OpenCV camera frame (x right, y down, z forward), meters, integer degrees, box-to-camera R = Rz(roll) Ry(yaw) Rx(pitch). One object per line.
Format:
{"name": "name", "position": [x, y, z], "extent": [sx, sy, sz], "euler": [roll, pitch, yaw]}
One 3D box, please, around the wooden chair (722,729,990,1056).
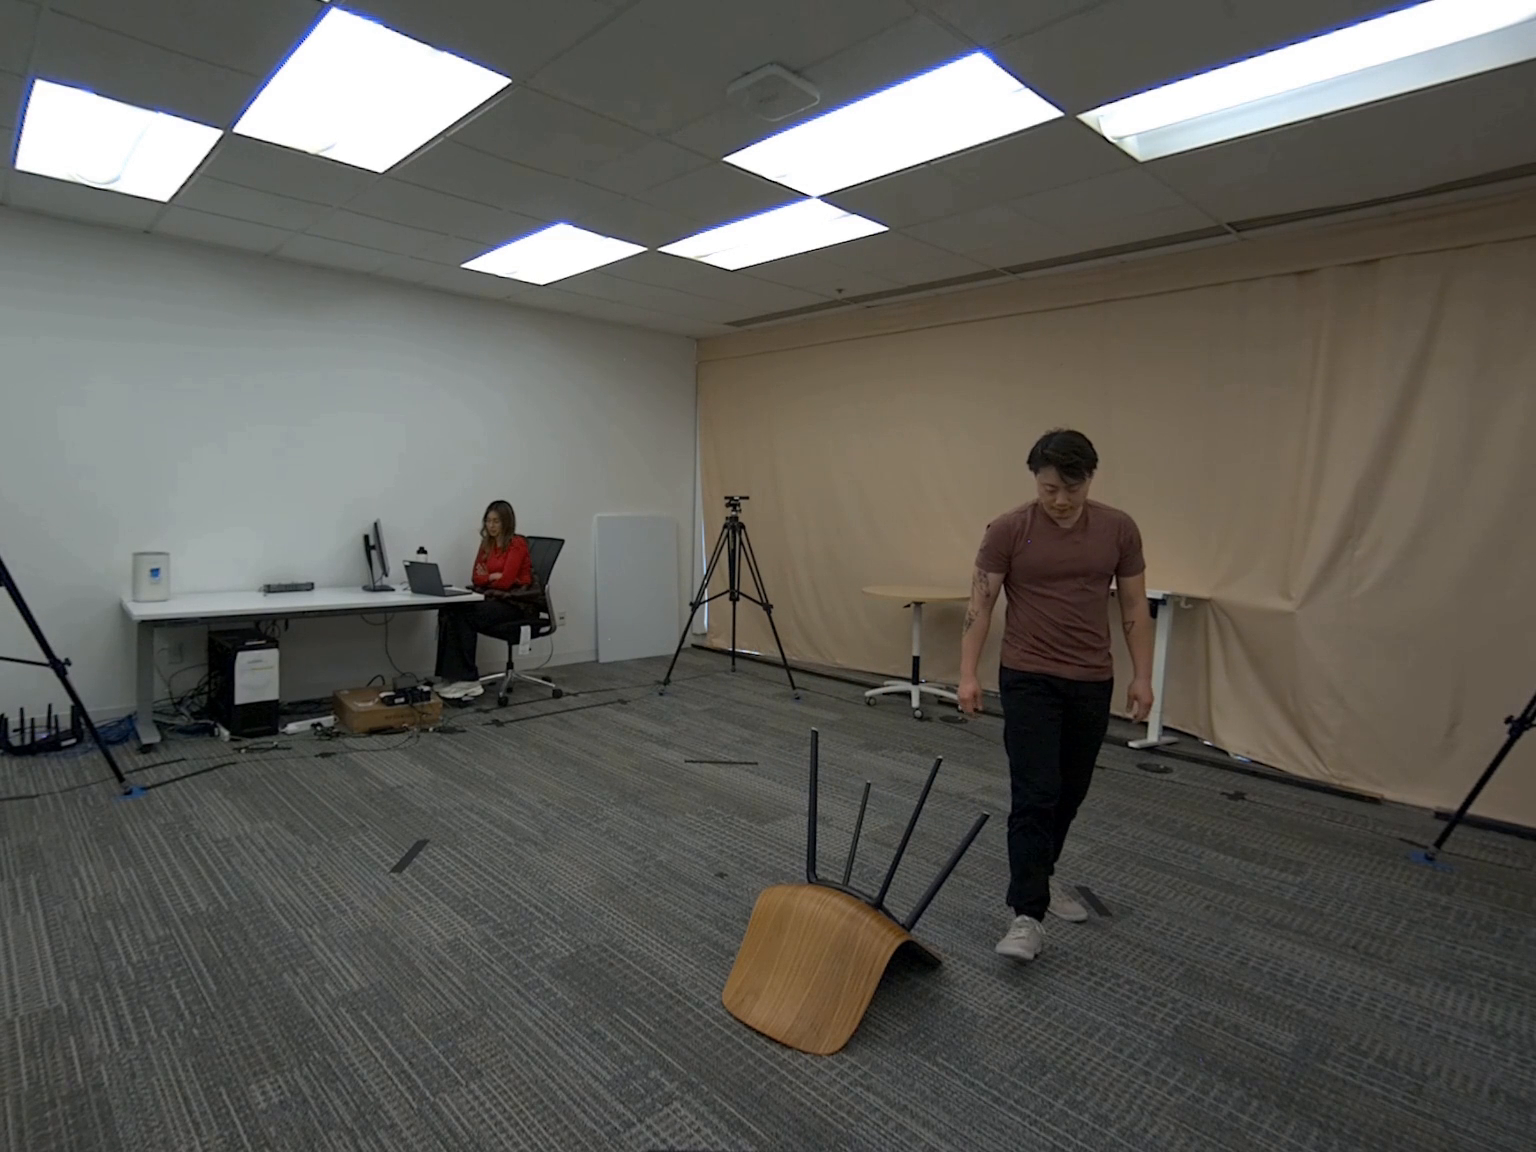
{"name": "wooden chair", "position": [0.269, 0.996, 2.537], "extent": [0.490, 0.883, 0.507], "euler": [4, -35, 37]}
